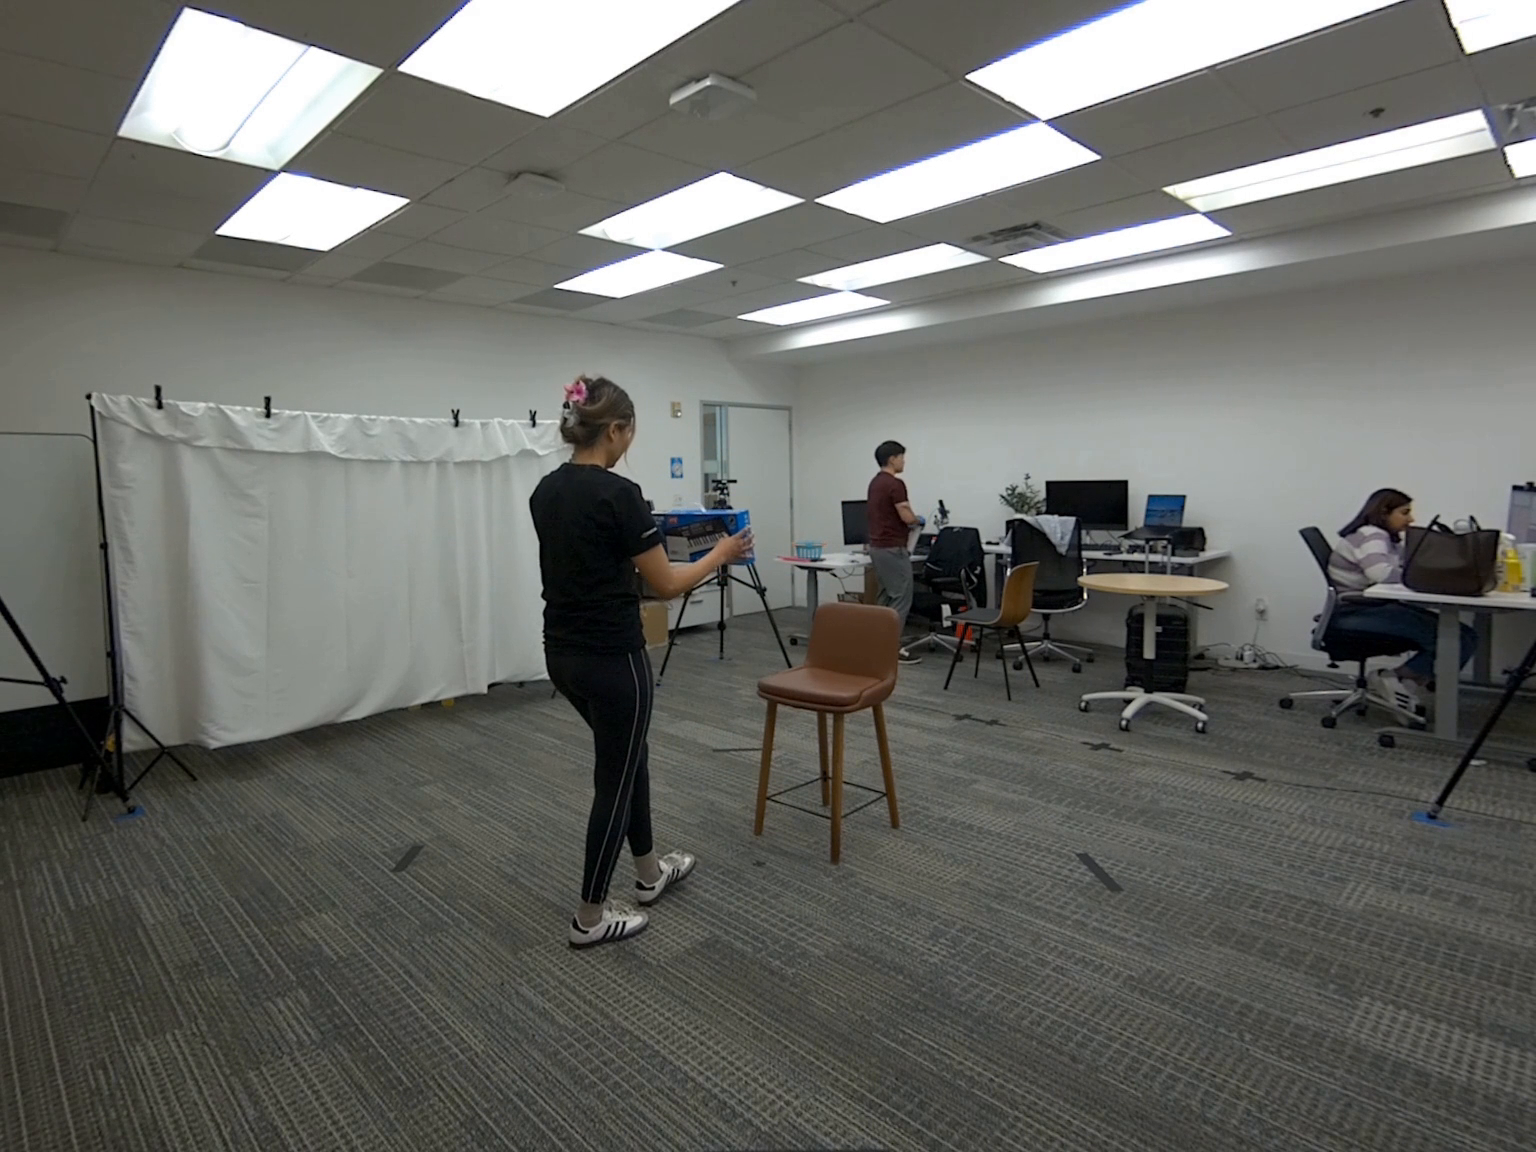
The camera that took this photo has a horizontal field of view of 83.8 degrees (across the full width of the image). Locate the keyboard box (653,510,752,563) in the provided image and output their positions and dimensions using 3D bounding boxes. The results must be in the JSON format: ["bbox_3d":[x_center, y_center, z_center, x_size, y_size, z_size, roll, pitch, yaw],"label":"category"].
[{"bbox_3d":[-0.233,-0.129,2.879,0.450,0.174,0.058,3,13,41],"label":"keyboard box"}]
